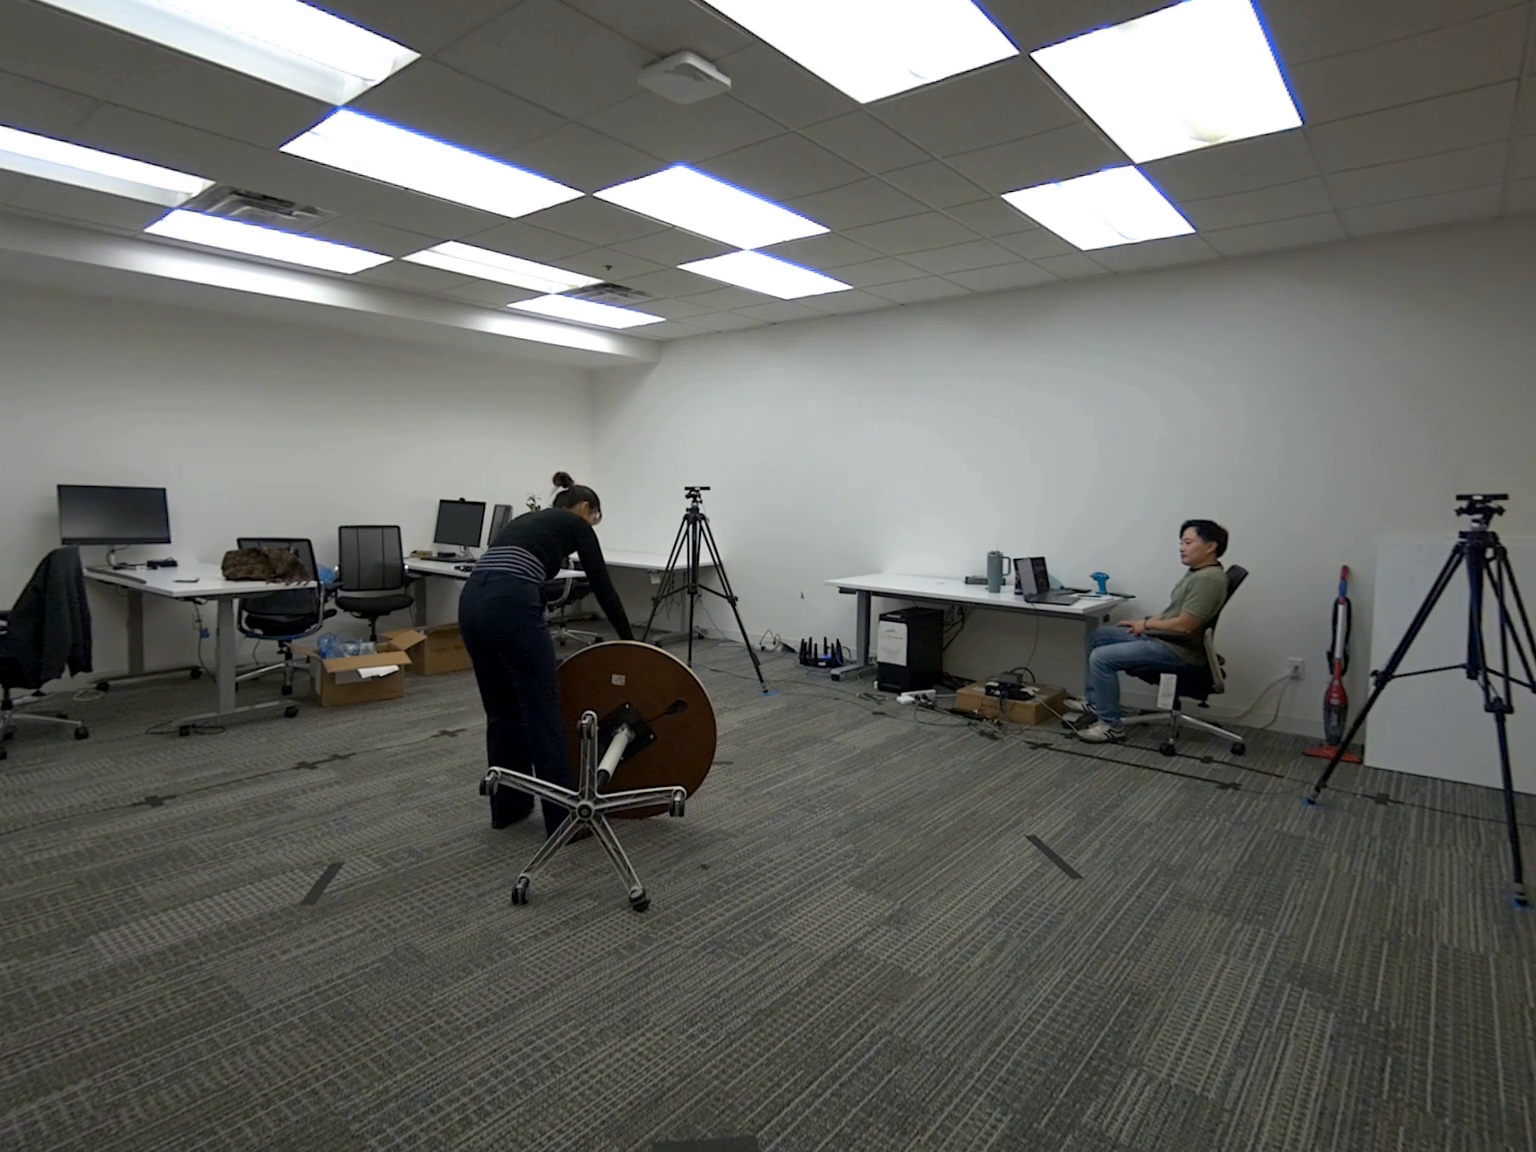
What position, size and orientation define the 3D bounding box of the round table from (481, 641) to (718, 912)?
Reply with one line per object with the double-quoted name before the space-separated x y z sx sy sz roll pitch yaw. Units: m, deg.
"round table" -0.611 0.722 3.132 0.767 0.757 0.798 1 10 3
